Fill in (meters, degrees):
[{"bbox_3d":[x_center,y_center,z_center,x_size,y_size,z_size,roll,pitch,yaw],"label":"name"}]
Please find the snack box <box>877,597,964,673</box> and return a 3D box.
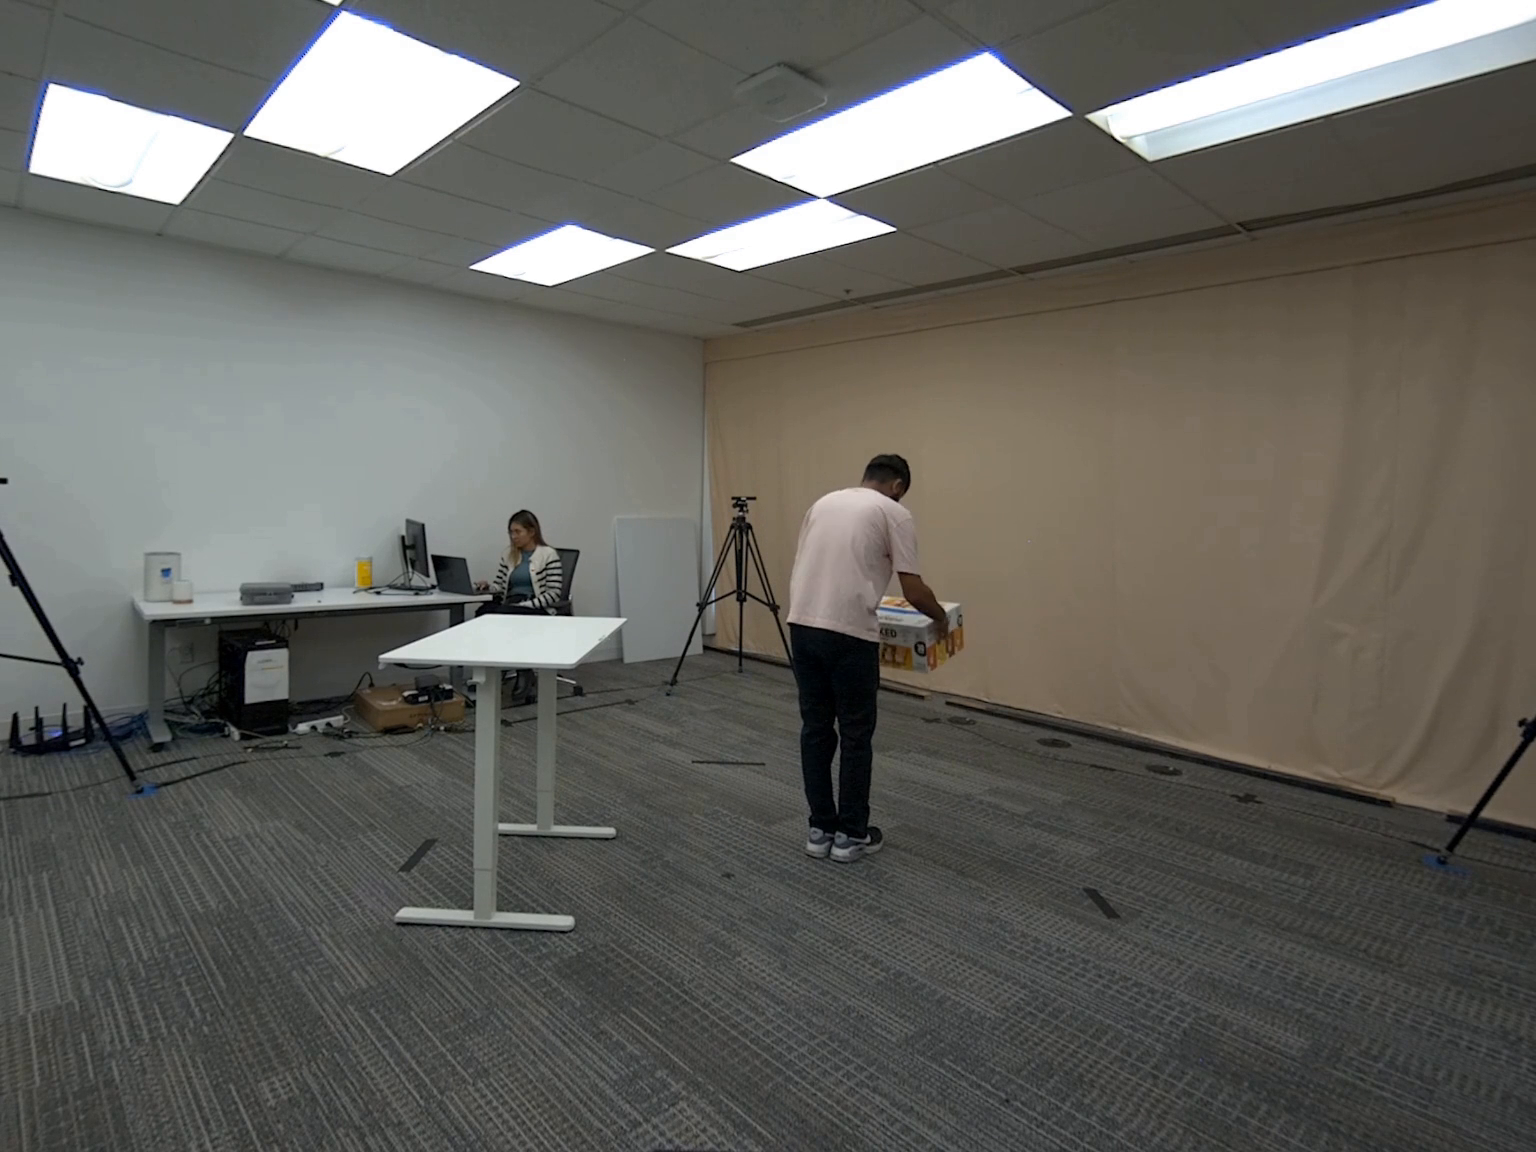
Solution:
[{"bbox_3d":[0.571,0.252,3.645,0.415,0.204,0.335,5,17,39],"label":"snack box"}]
